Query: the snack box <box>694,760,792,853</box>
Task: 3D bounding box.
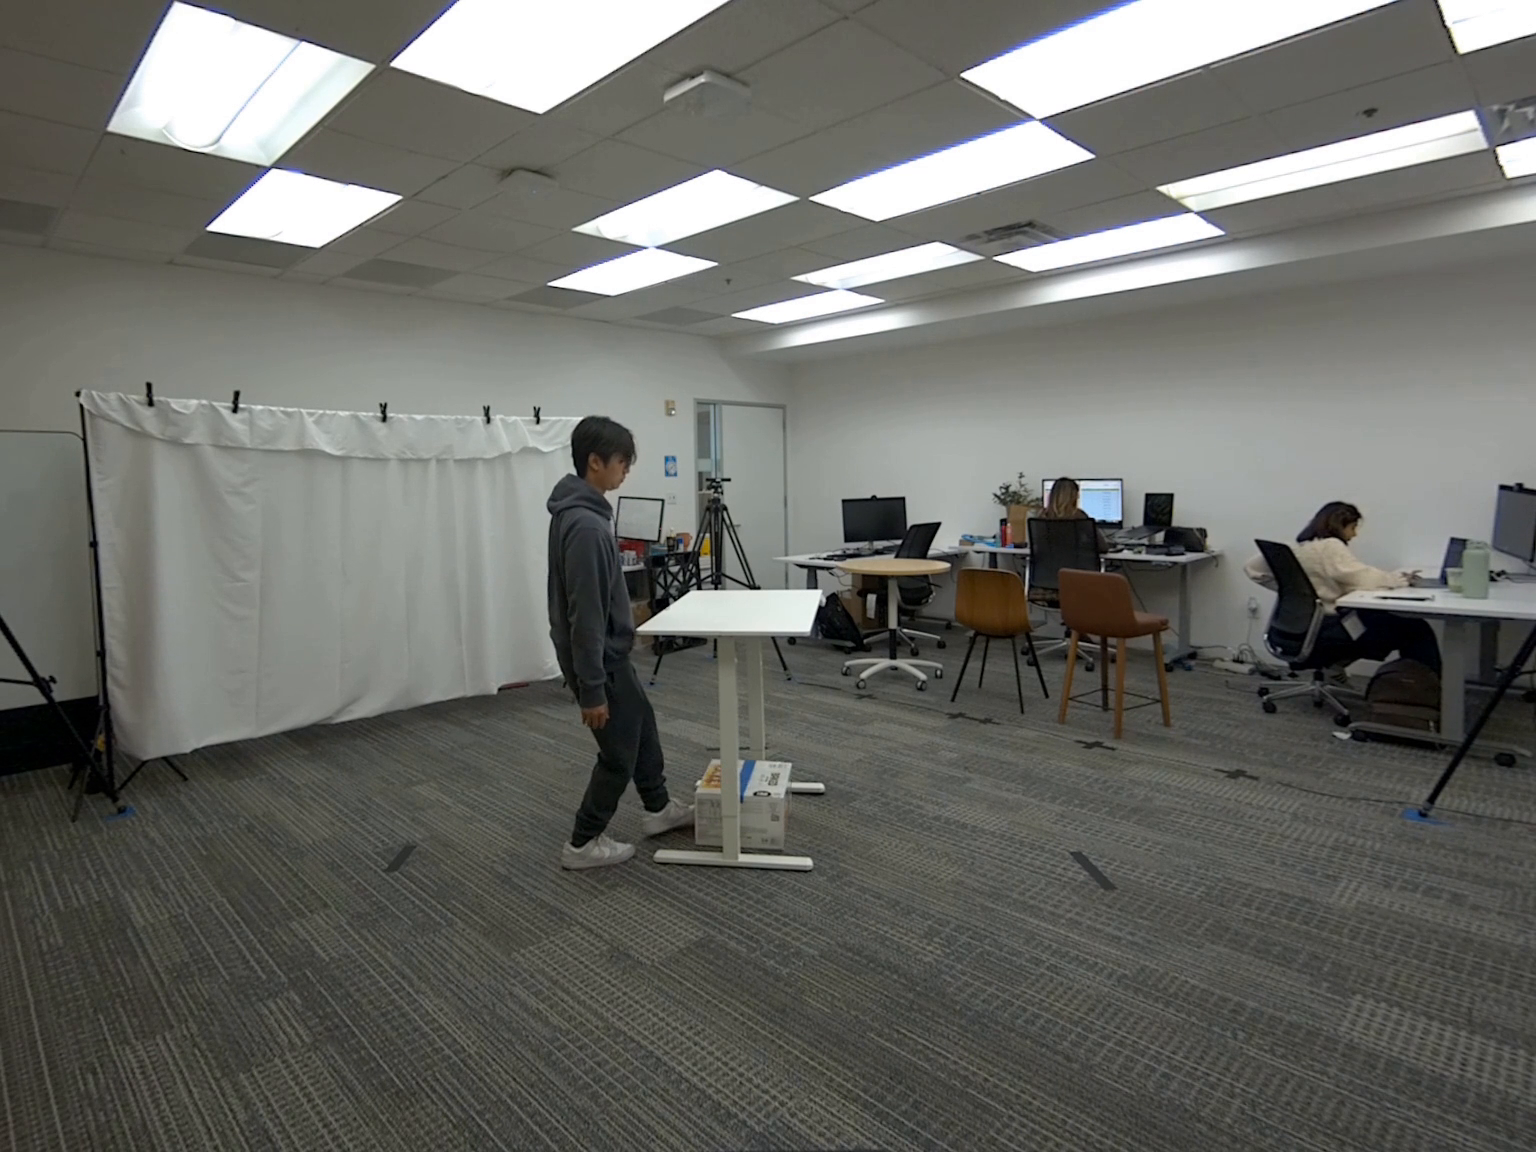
[{"bbox_3d":[-0.091,0.905,3.424,0.343,0.205,0.404,0,6,8],"label":"snack box"}]
